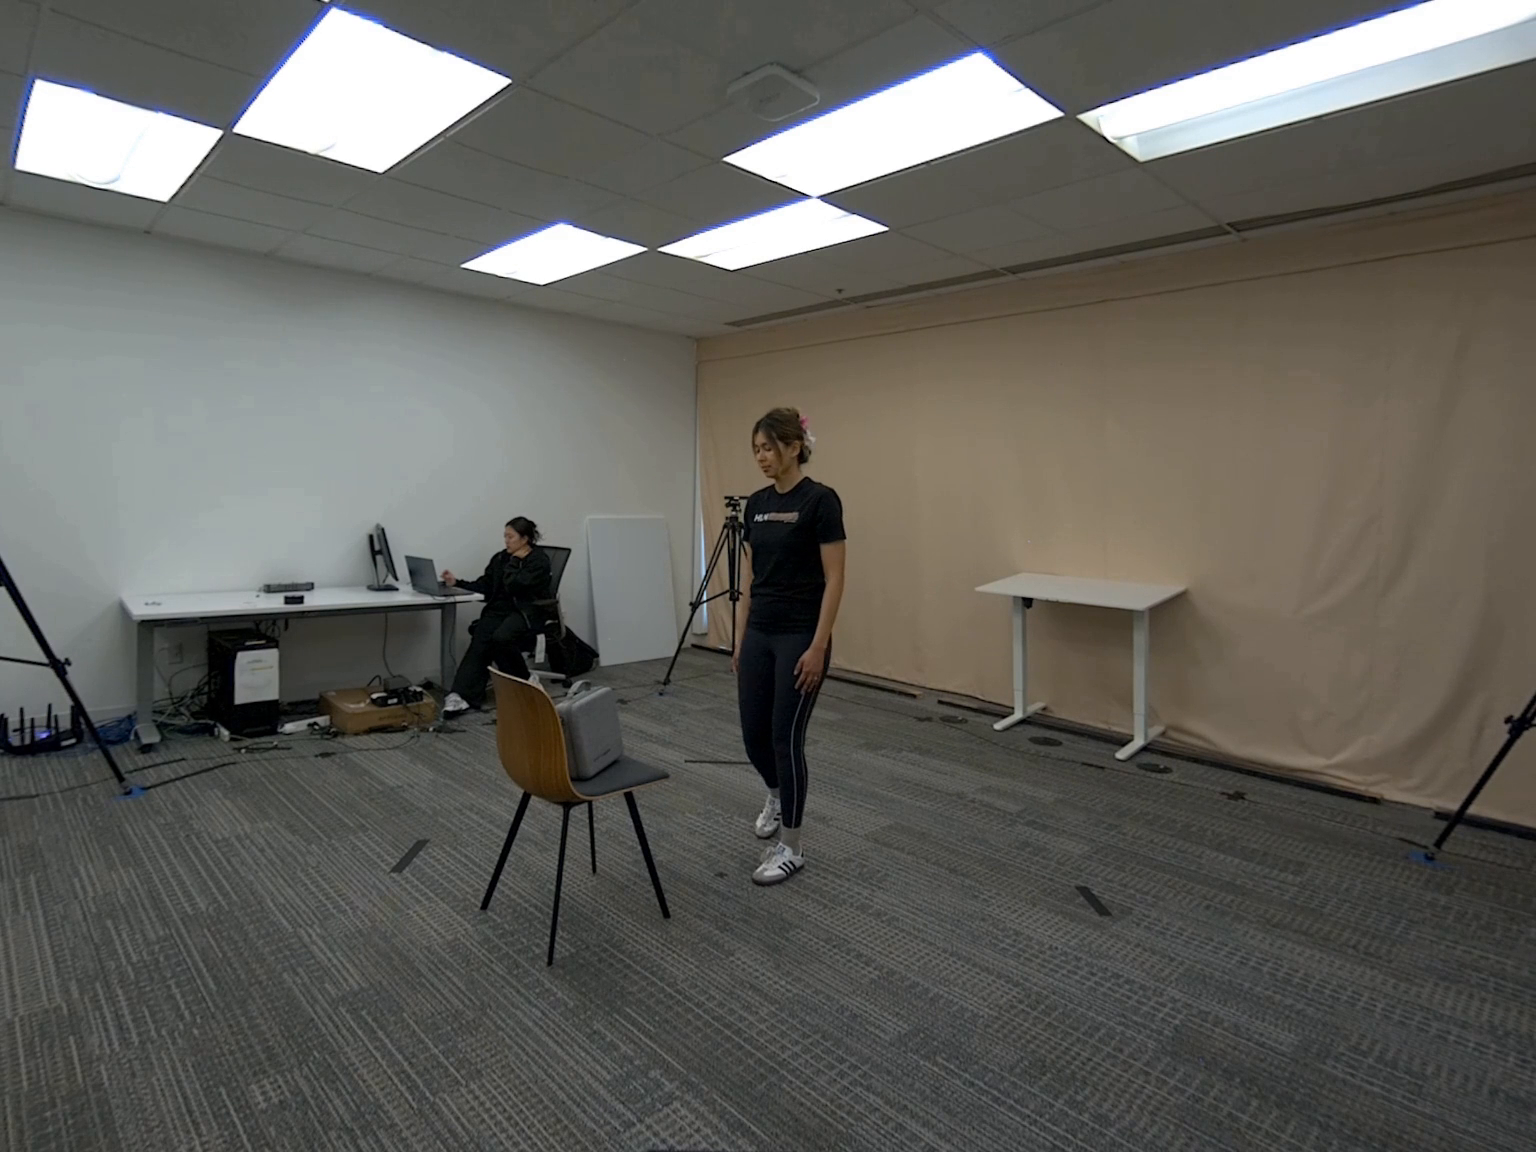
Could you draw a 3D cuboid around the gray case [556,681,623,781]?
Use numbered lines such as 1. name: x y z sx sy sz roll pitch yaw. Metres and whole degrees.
1. gray case: -0.607 0.517 2.791 0.106 0.260 0.254 -6 4 20
